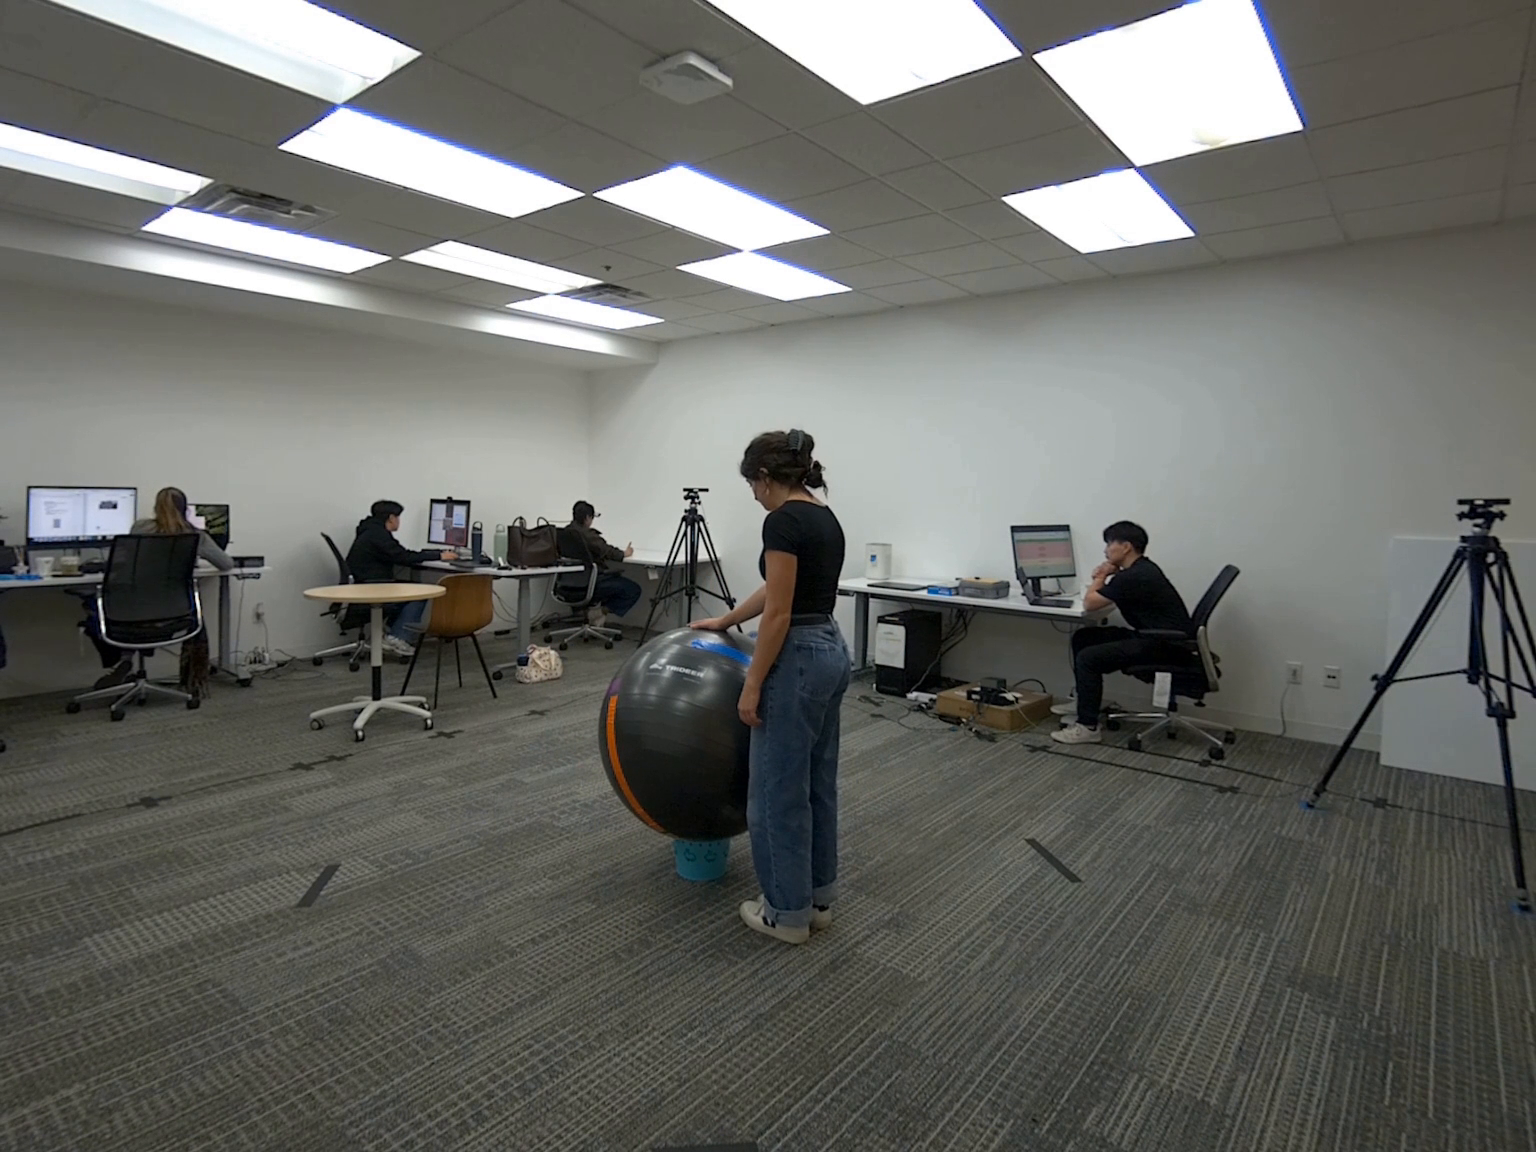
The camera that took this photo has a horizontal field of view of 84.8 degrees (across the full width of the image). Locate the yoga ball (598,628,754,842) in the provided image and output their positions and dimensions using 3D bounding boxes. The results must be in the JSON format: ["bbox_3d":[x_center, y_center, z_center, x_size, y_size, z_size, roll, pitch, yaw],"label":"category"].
[{"bbox_3d":[-0.243,0.559,3.089,0.757,0.756,0.762,1,4,-2],"label":"yoga ball"}]
